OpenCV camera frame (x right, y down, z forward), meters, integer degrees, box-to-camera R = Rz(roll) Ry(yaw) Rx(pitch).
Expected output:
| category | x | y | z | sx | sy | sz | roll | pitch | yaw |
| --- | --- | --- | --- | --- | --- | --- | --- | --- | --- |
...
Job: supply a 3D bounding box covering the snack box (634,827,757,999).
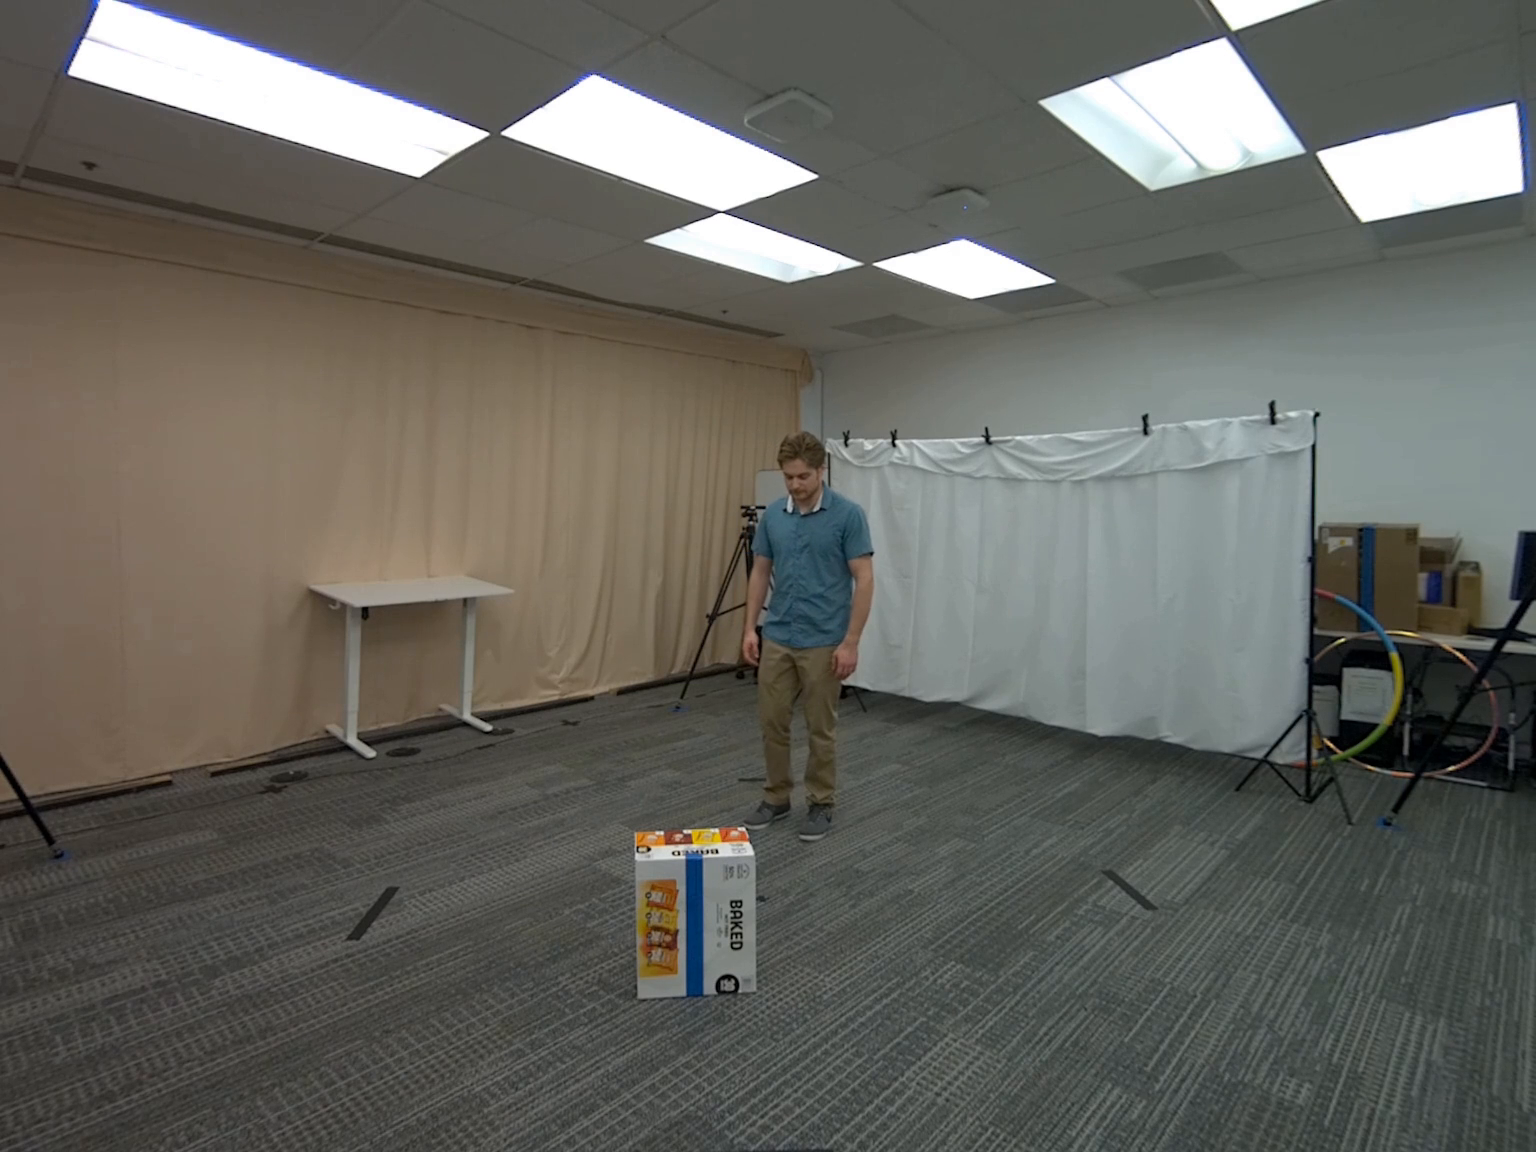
| category | x | y | z | sx | sy | sz | roll | pitch | yaw |
| --- | --- | --- | --- | --- | --- | --- | --- | --- | --- |
| snack box | -0.217 | 0.987 | 2.477 | 0.338 | 0.404 | 0.207 | -1 | 3 | -5 |
